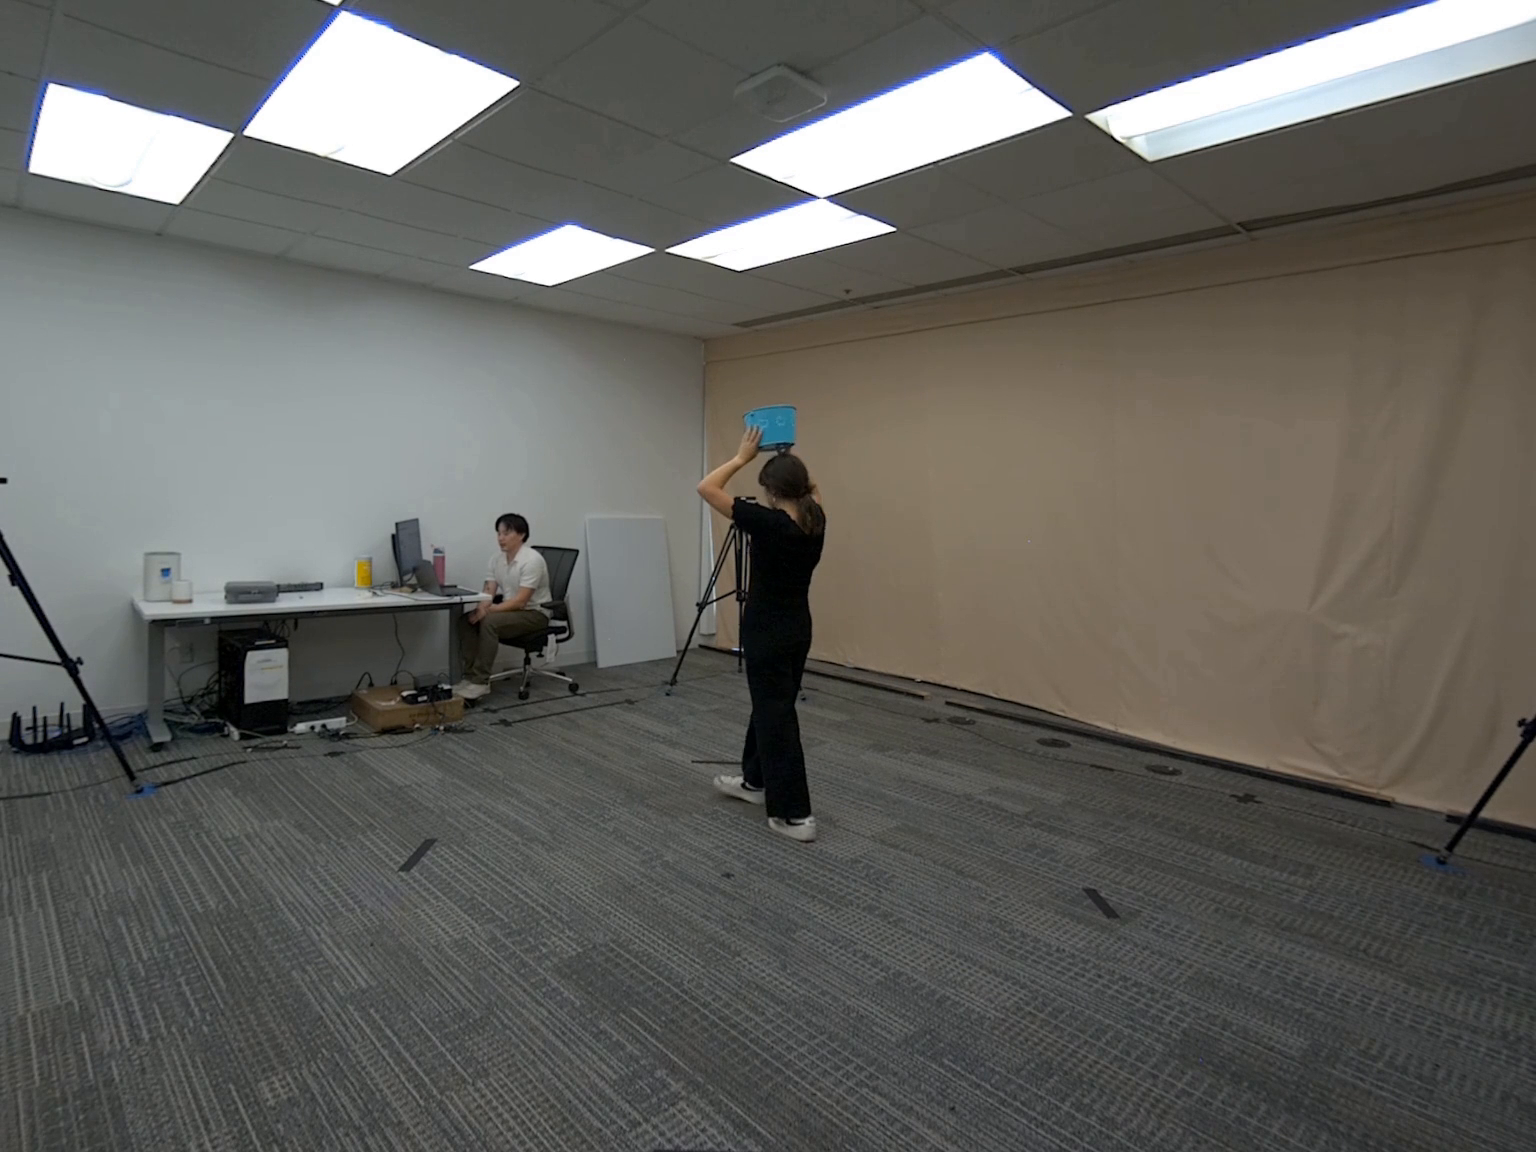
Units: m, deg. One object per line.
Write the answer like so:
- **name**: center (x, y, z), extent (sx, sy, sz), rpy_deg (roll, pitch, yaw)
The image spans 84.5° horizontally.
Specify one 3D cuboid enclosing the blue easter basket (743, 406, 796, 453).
- **blue easter basket**: center (0.018, -0.628, 3.621), extent (0.243, 0.157, 0.243), rpy_deg (-7, -5, -2)
